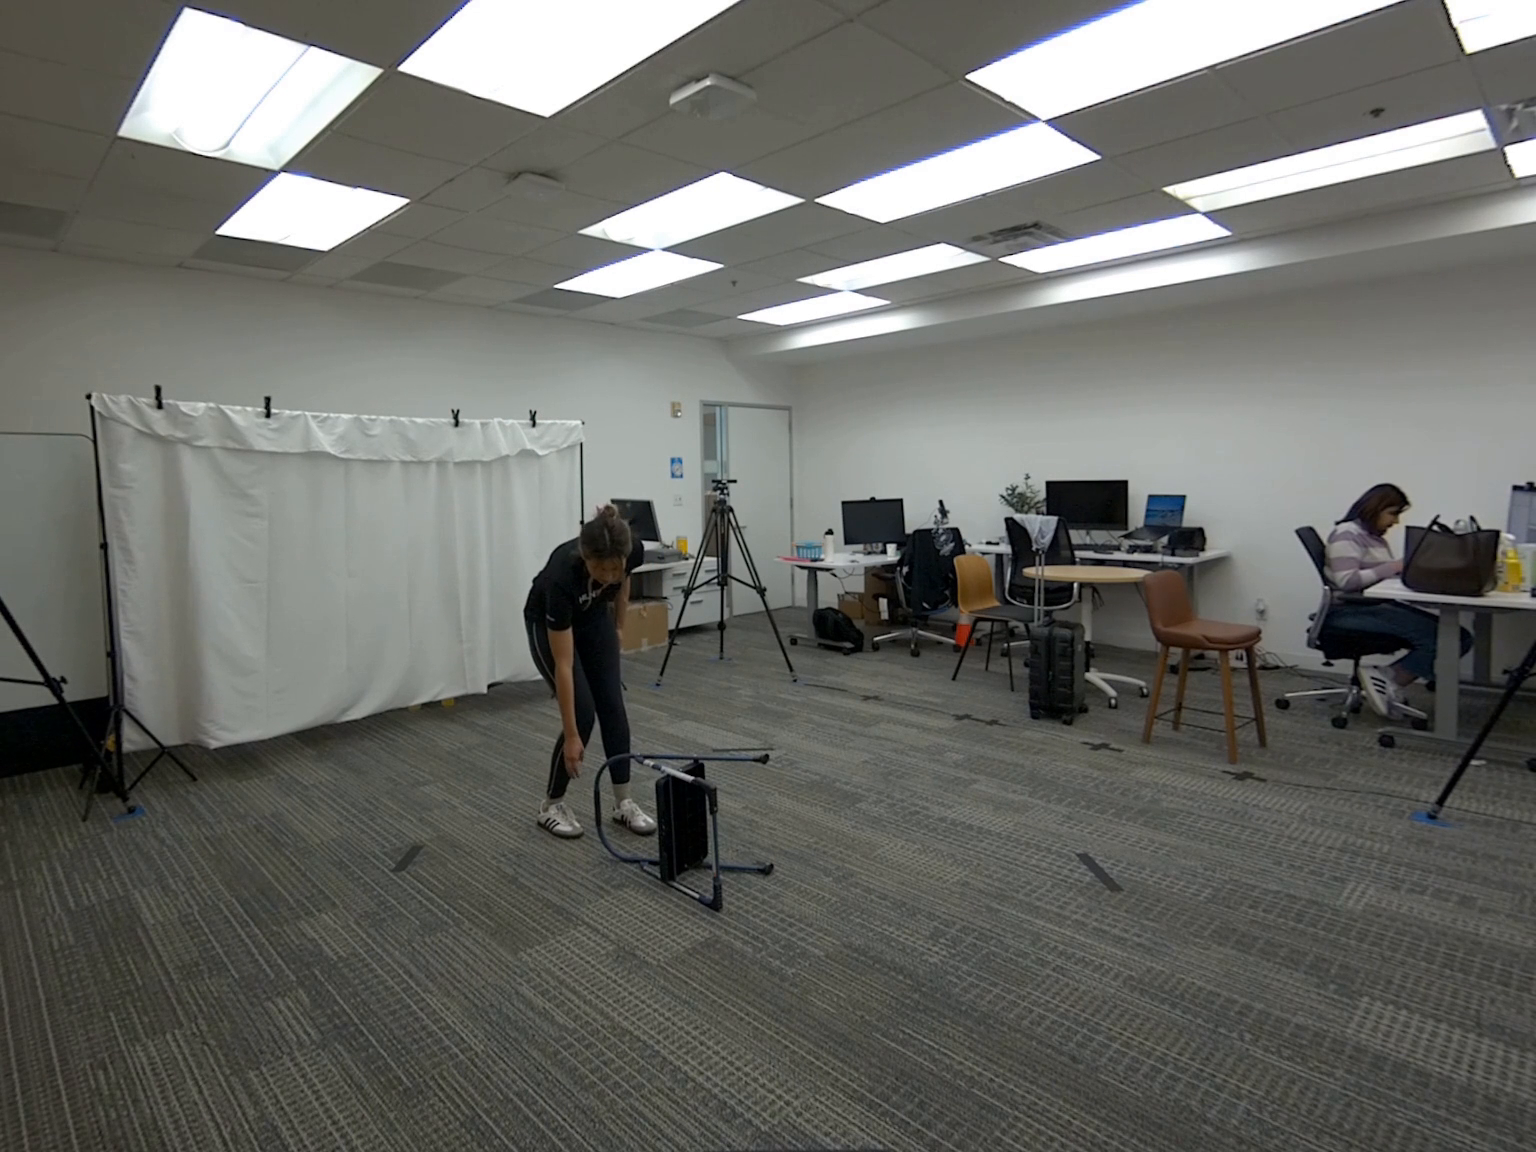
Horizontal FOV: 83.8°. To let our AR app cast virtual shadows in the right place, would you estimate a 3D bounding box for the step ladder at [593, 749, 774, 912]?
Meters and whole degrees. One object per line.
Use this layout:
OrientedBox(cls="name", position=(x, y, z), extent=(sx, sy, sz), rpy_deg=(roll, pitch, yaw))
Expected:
OrientedBox(cls="step ladder", position=(-0.340, 0.856, 3.050), extent=(0.622, 0.429, 0.341), rpy_deg=(0, 4, 33))
